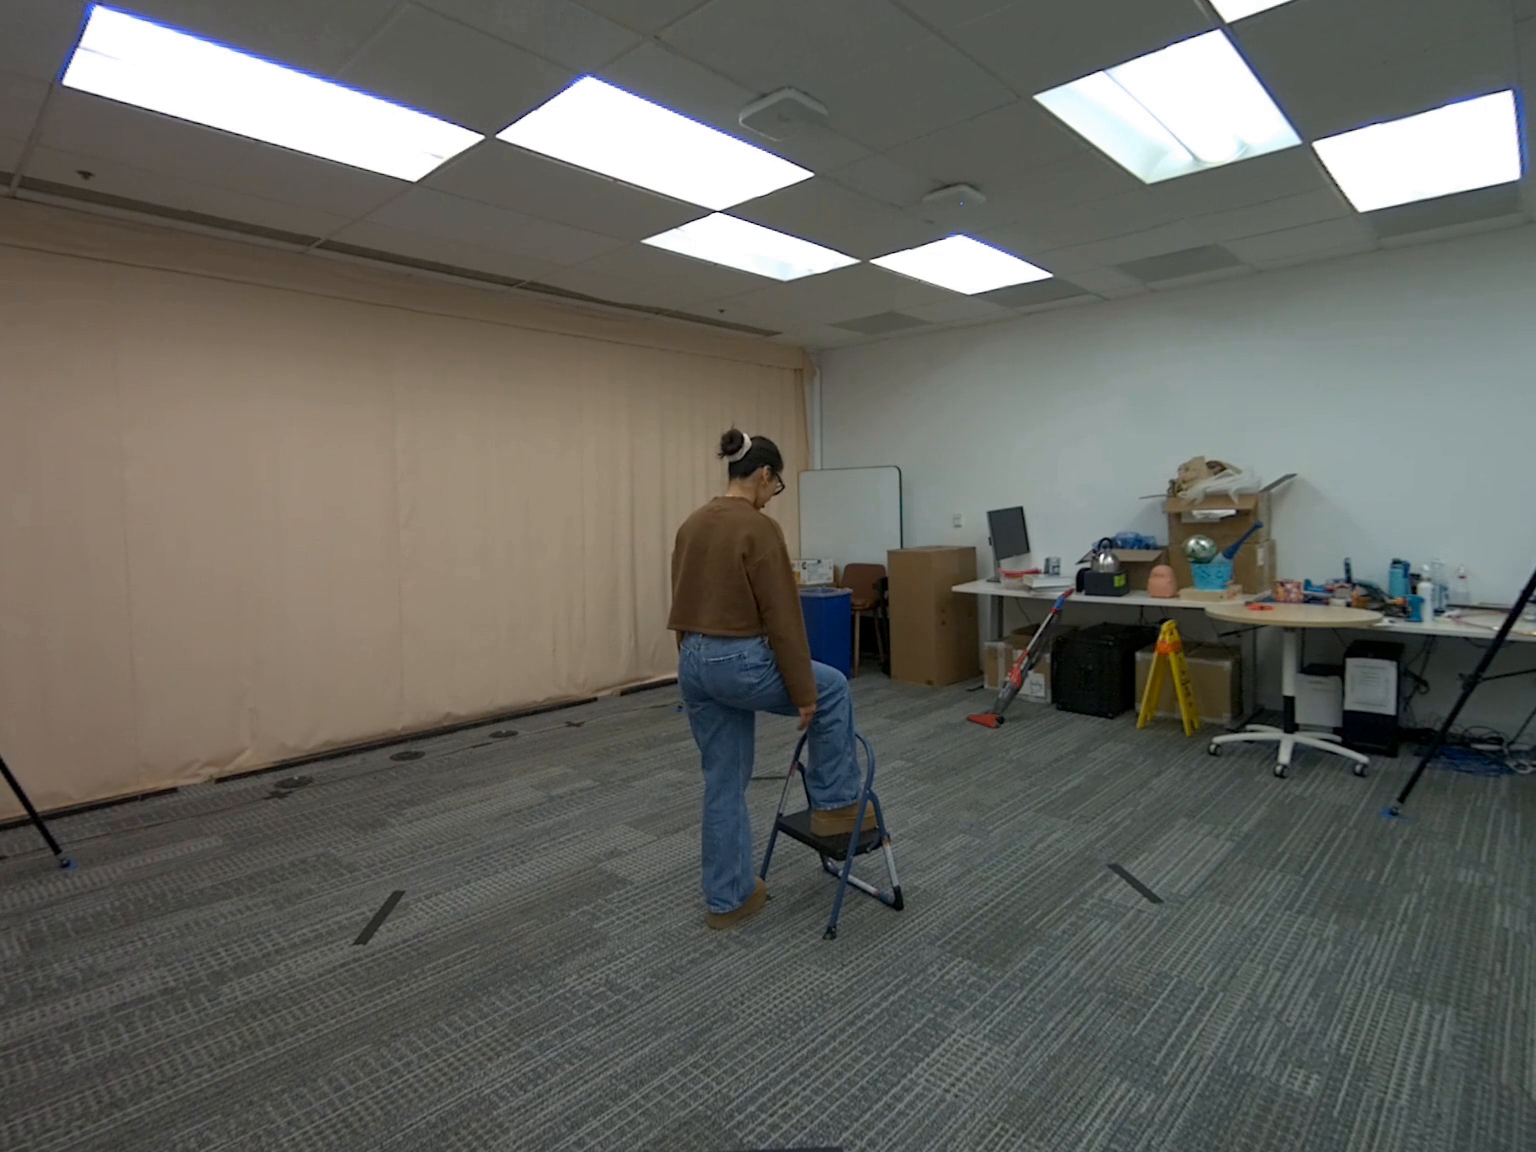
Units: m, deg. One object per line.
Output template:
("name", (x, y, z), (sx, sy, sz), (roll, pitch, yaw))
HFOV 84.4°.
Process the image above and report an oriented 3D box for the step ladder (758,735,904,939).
("step ladder", (0.207, 0.837, 2.938), (0.339, 0.605, 0.444), (-3, 4, -35))
